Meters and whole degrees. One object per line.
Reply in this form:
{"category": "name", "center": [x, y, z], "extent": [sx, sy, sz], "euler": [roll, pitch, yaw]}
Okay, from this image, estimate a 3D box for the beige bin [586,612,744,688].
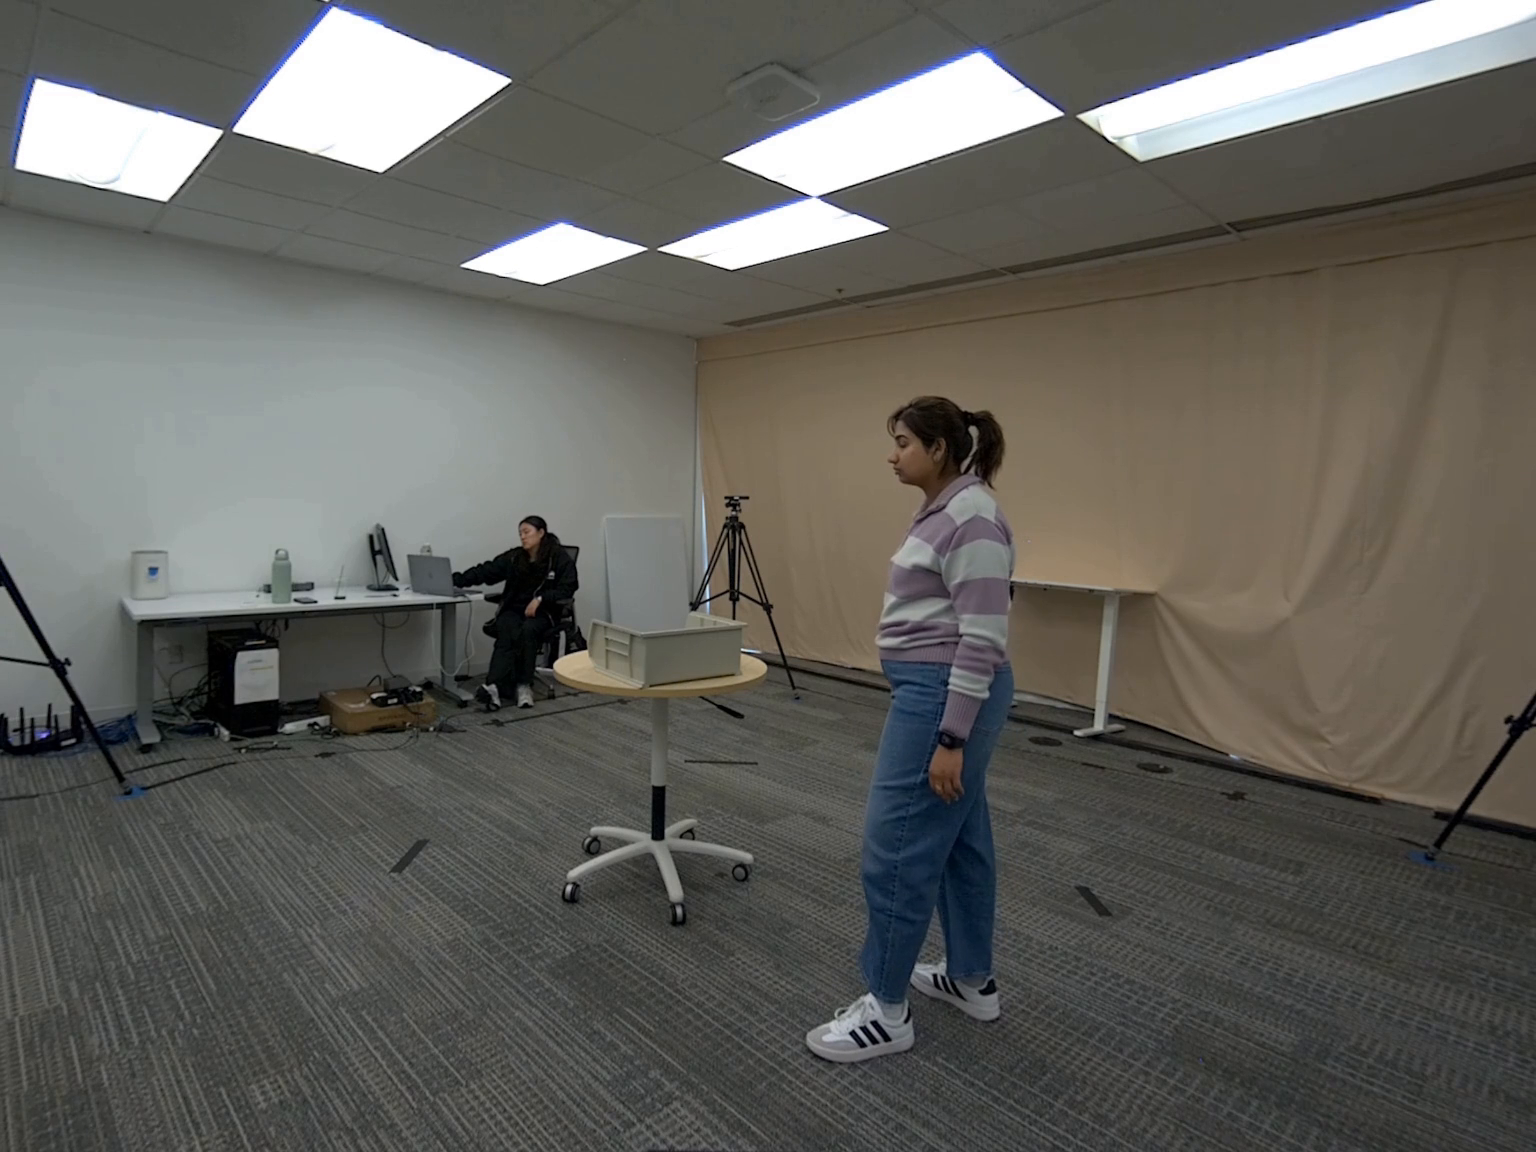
{"category": "beige bin", "center": [-0.358, 0.247, 2.909], "extent": [0.413, 0.188, 0.387], "euler": [-2, 8, -38]}
